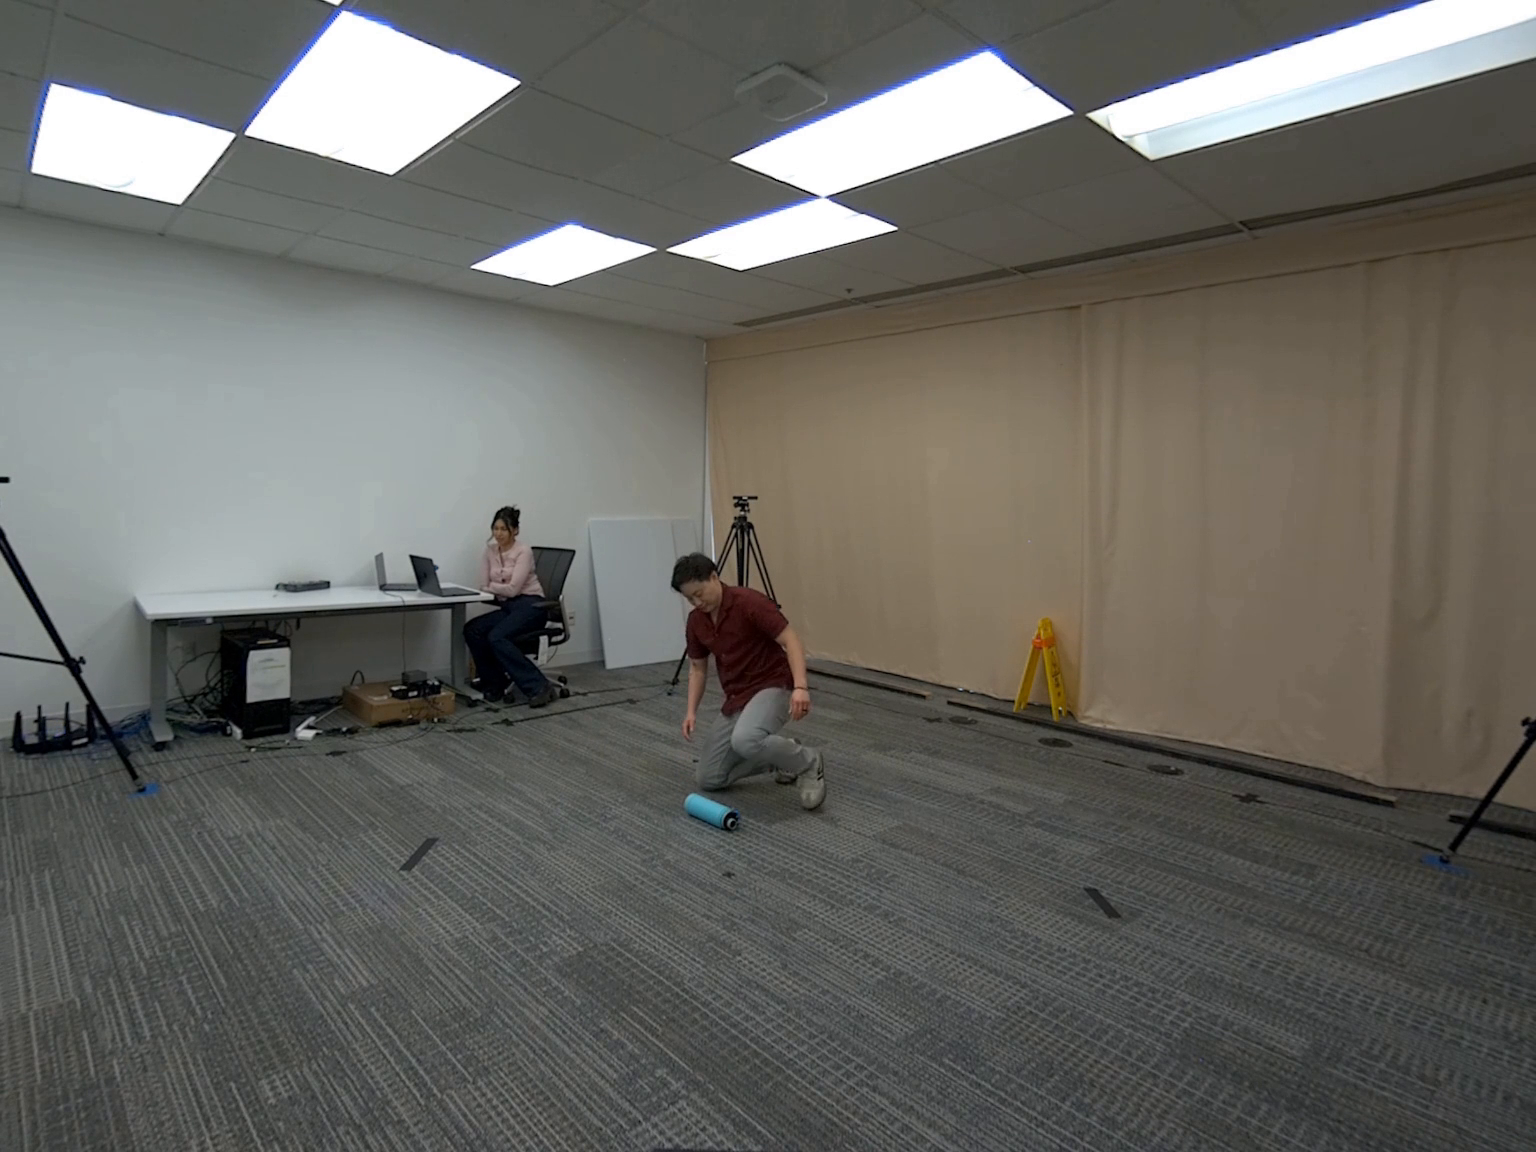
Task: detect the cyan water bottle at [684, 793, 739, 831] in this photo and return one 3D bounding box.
[{"bbox_3d":[-0.252,1.012,3.601,0.090,0.092,0.291,-3,7,-45],"label":"cyan water bottle"}]
